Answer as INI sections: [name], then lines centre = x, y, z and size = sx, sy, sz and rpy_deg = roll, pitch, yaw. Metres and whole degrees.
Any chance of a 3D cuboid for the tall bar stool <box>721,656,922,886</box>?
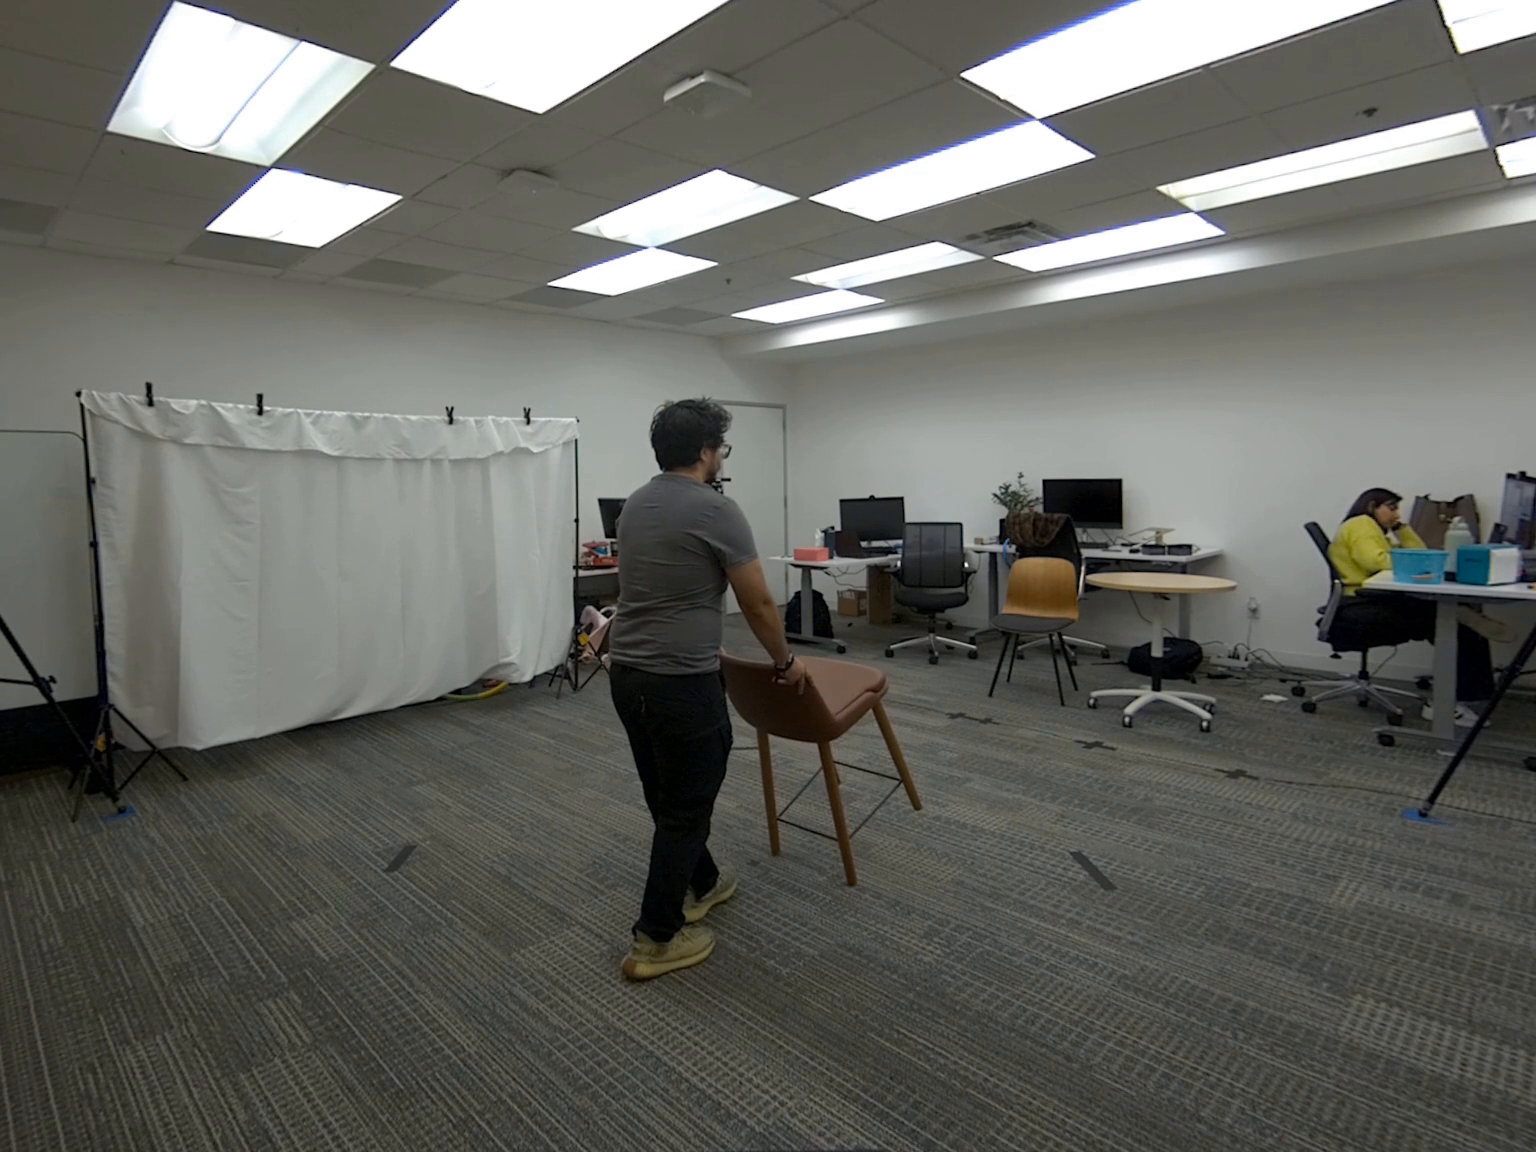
[tall bar stool]
centre = 0.177, 0.563, 3.049
size = 0.470, 0.870, 0.463
rpy_deg = 3, 28, 44
